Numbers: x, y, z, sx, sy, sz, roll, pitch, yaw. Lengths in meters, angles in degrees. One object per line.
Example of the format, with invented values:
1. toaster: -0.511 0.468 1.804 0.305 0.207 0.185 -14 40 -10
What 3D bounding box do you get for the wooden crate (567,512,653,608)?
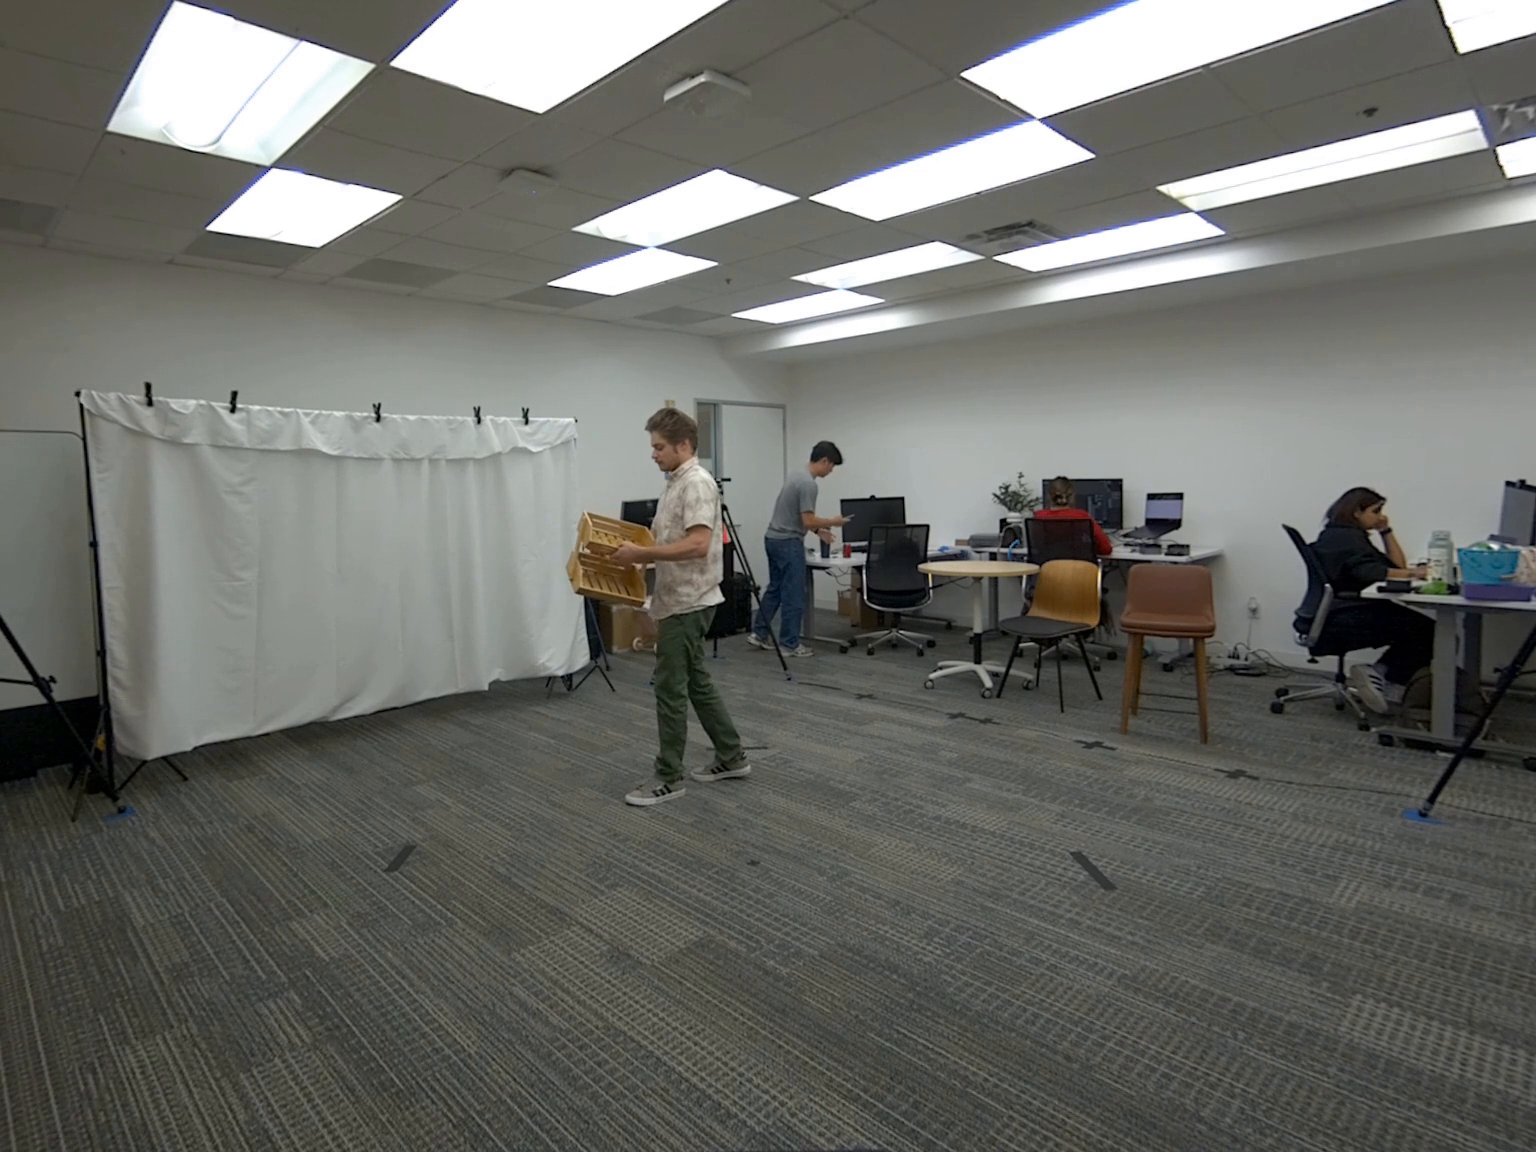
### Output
1. wooden crate: -0.660 -0.071 3.632 0.315 0.271 0.313 15 21 -28
